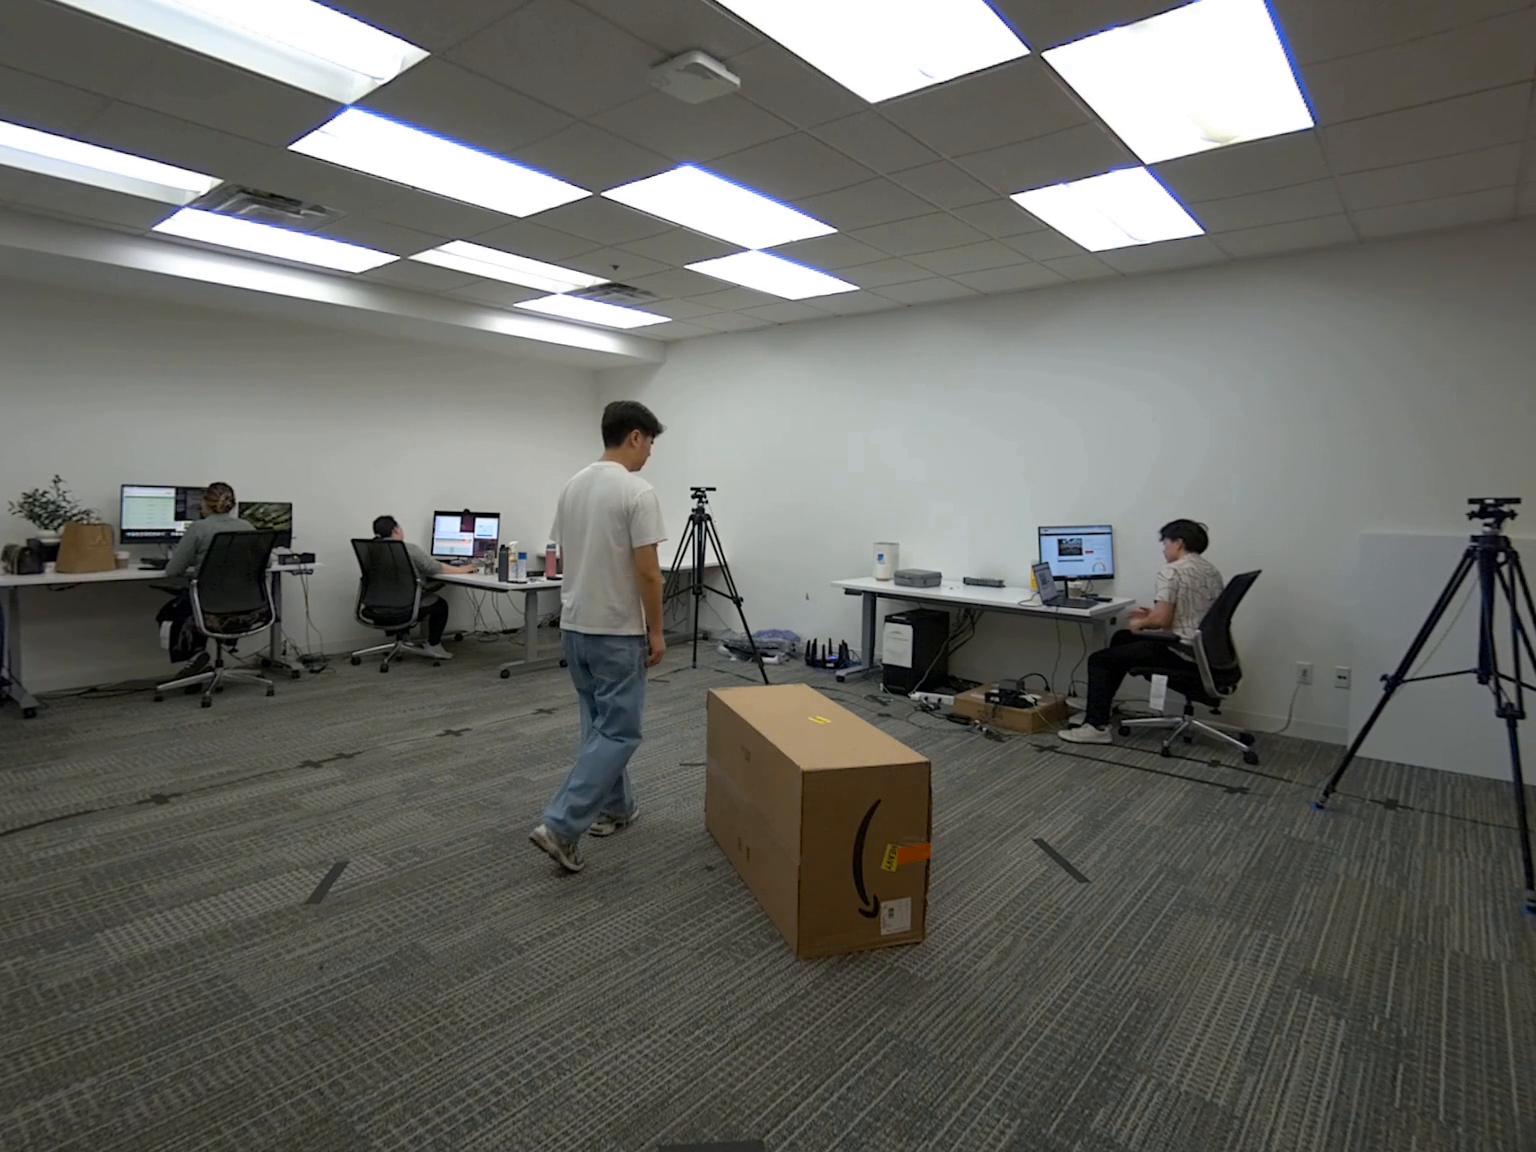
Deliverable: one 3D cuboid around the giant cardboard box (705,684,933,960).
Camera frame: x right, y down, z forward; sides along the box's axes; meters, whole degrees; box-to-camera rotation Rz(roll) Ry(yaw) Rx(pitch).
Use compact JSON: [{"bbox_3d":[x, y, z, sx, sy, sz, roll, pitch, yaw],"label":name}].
[{"bbox_3d":[0.117,0.790,3.037,0.418,0.575,1.049,0,5,-19],"label":"giant cardboard box"}]
